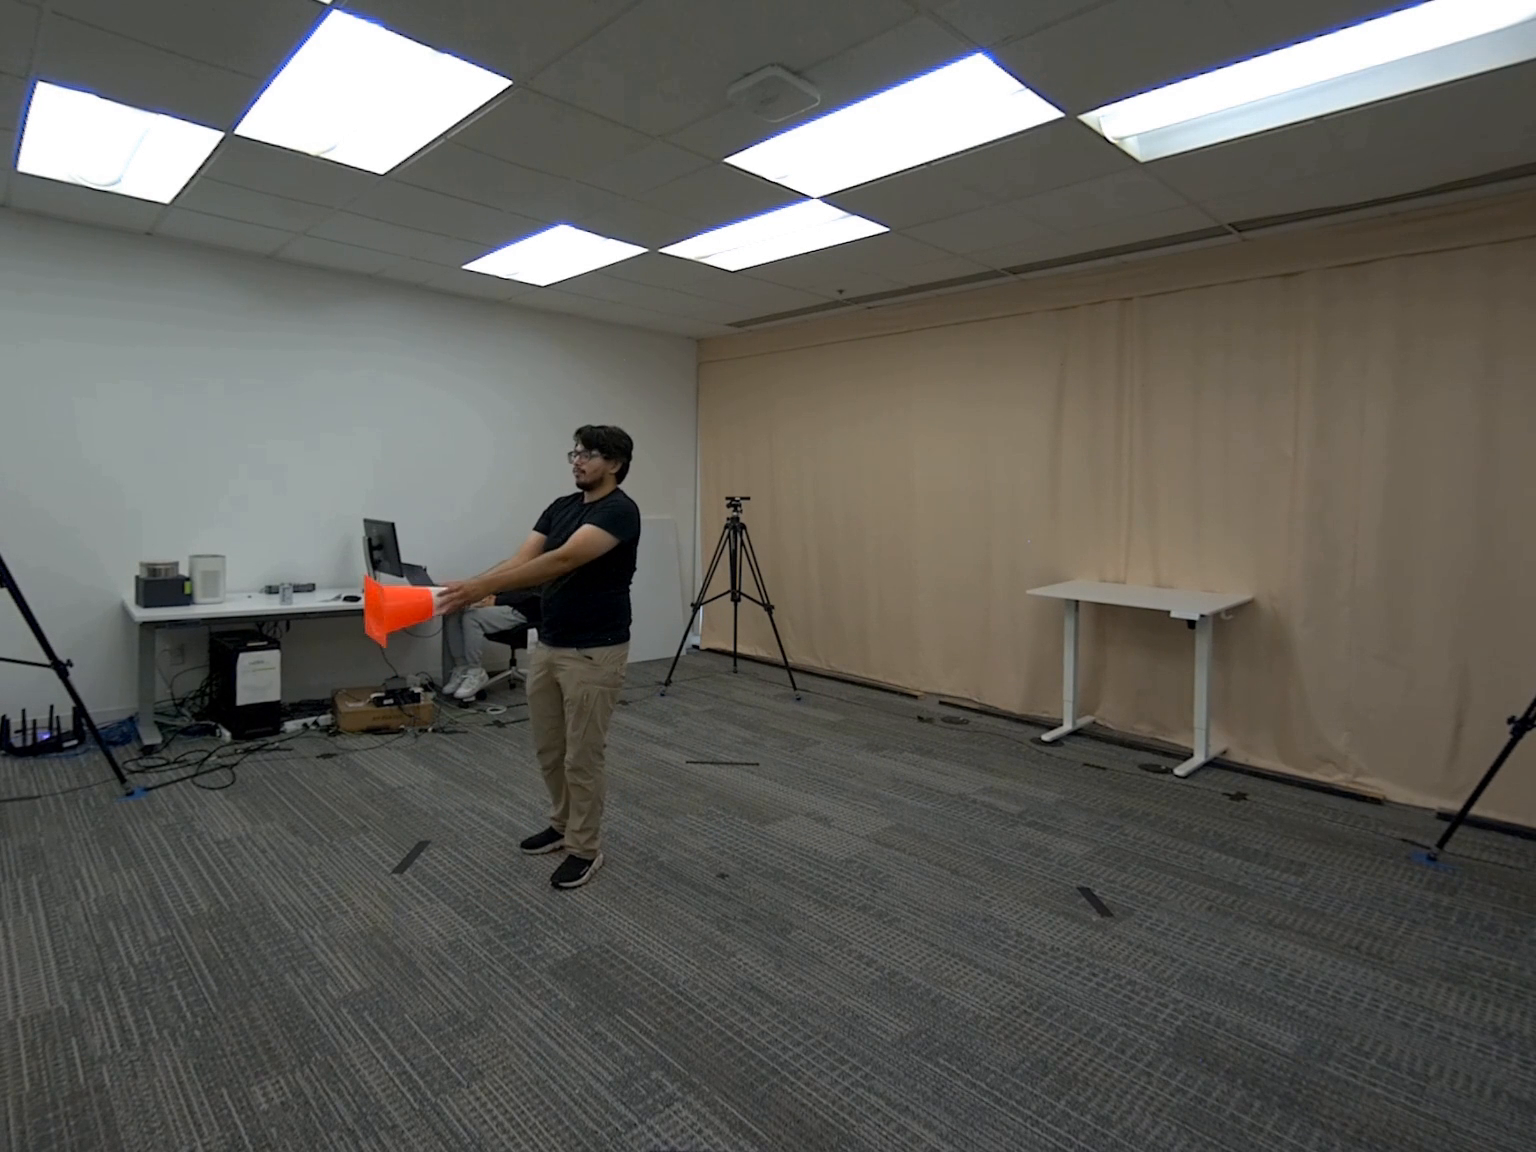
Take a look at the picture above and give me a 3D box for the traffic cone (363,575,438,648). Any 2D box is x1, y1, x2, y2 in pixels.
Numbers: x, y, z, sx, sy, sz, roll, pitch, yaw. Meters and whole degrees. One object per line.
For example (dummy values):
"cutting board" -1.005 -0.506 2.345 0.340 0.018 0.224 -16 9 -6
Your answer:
"traffic cone" -1.090 0.090 2.760 0.376 0.203 0.209 -7 15 -43
